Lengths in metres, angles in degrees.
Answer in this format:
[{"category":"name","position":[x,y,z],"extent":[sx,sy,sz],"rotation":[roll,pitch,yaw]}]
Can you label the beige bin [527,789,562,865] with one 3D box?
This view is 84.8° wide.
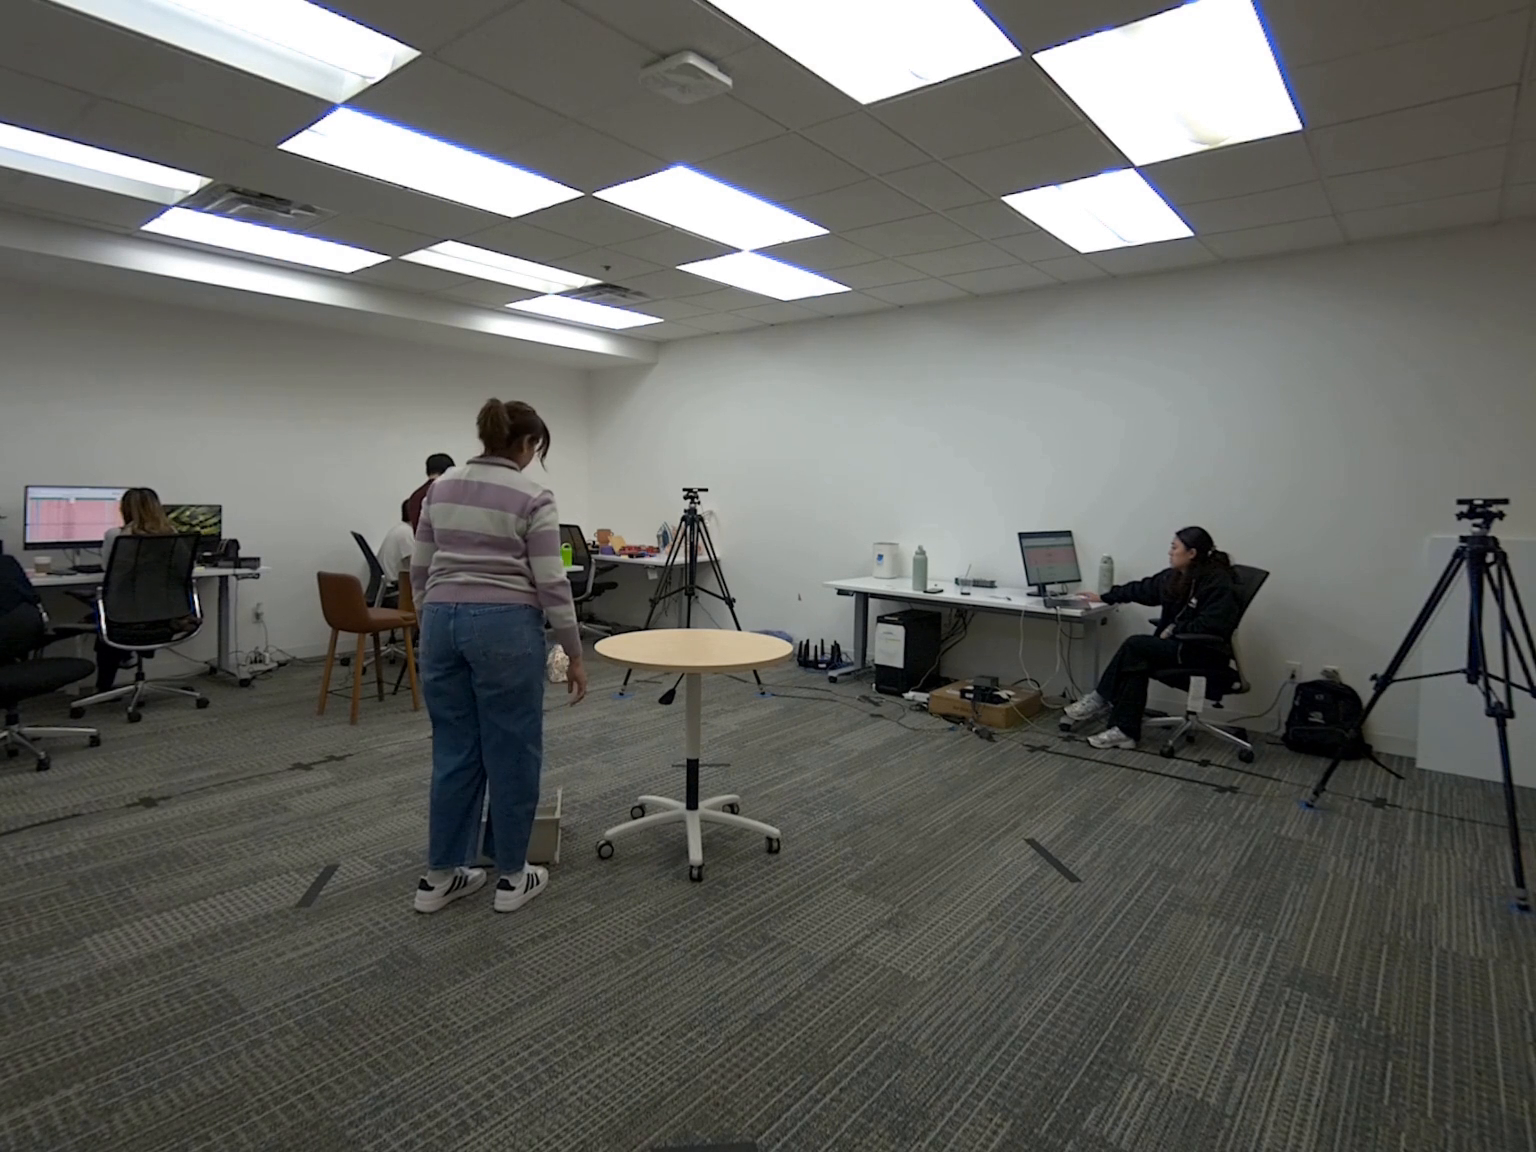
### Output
[{"category":"beige bin","position":[-1.017,0.952,3.264],"extent":[0.418,0.188,0.383],"rotation":[0,6,-10]}]
